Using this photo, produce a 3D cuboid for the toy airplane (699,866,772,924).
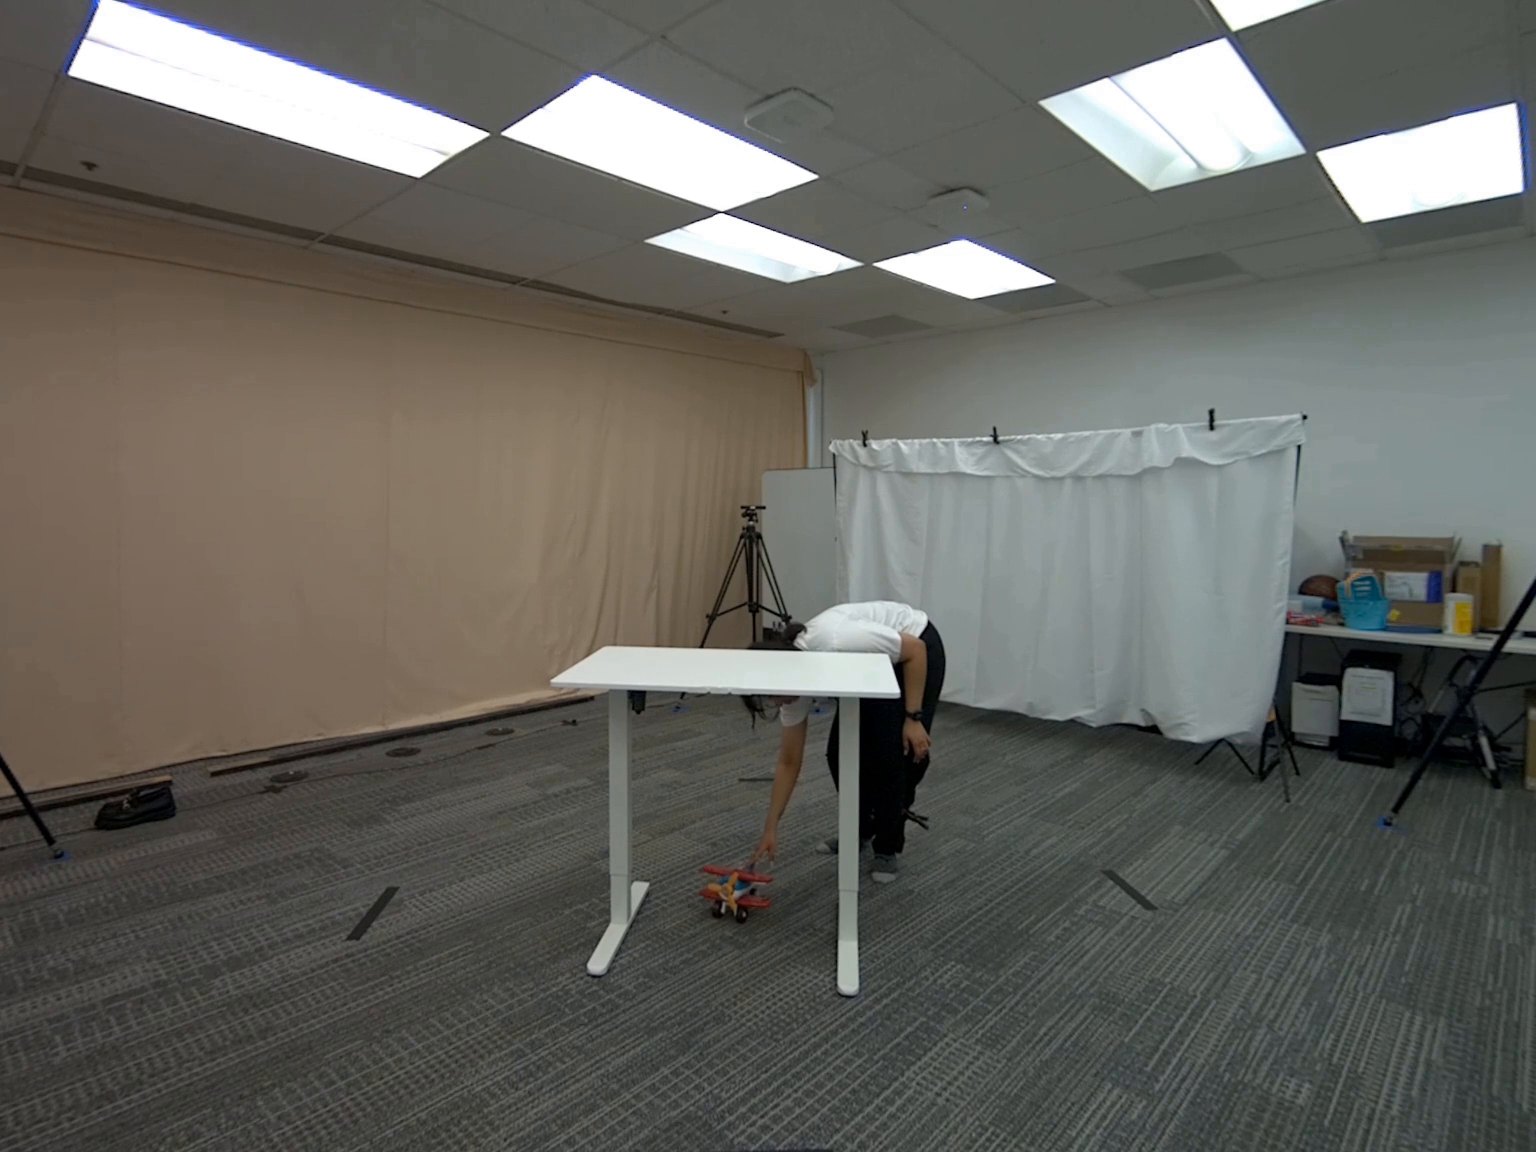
[{"bbox_3d":[-0.113,1.076,2.905,0.249,0.156,0.262,0,5,-7],"label":"toy airplane"}]
